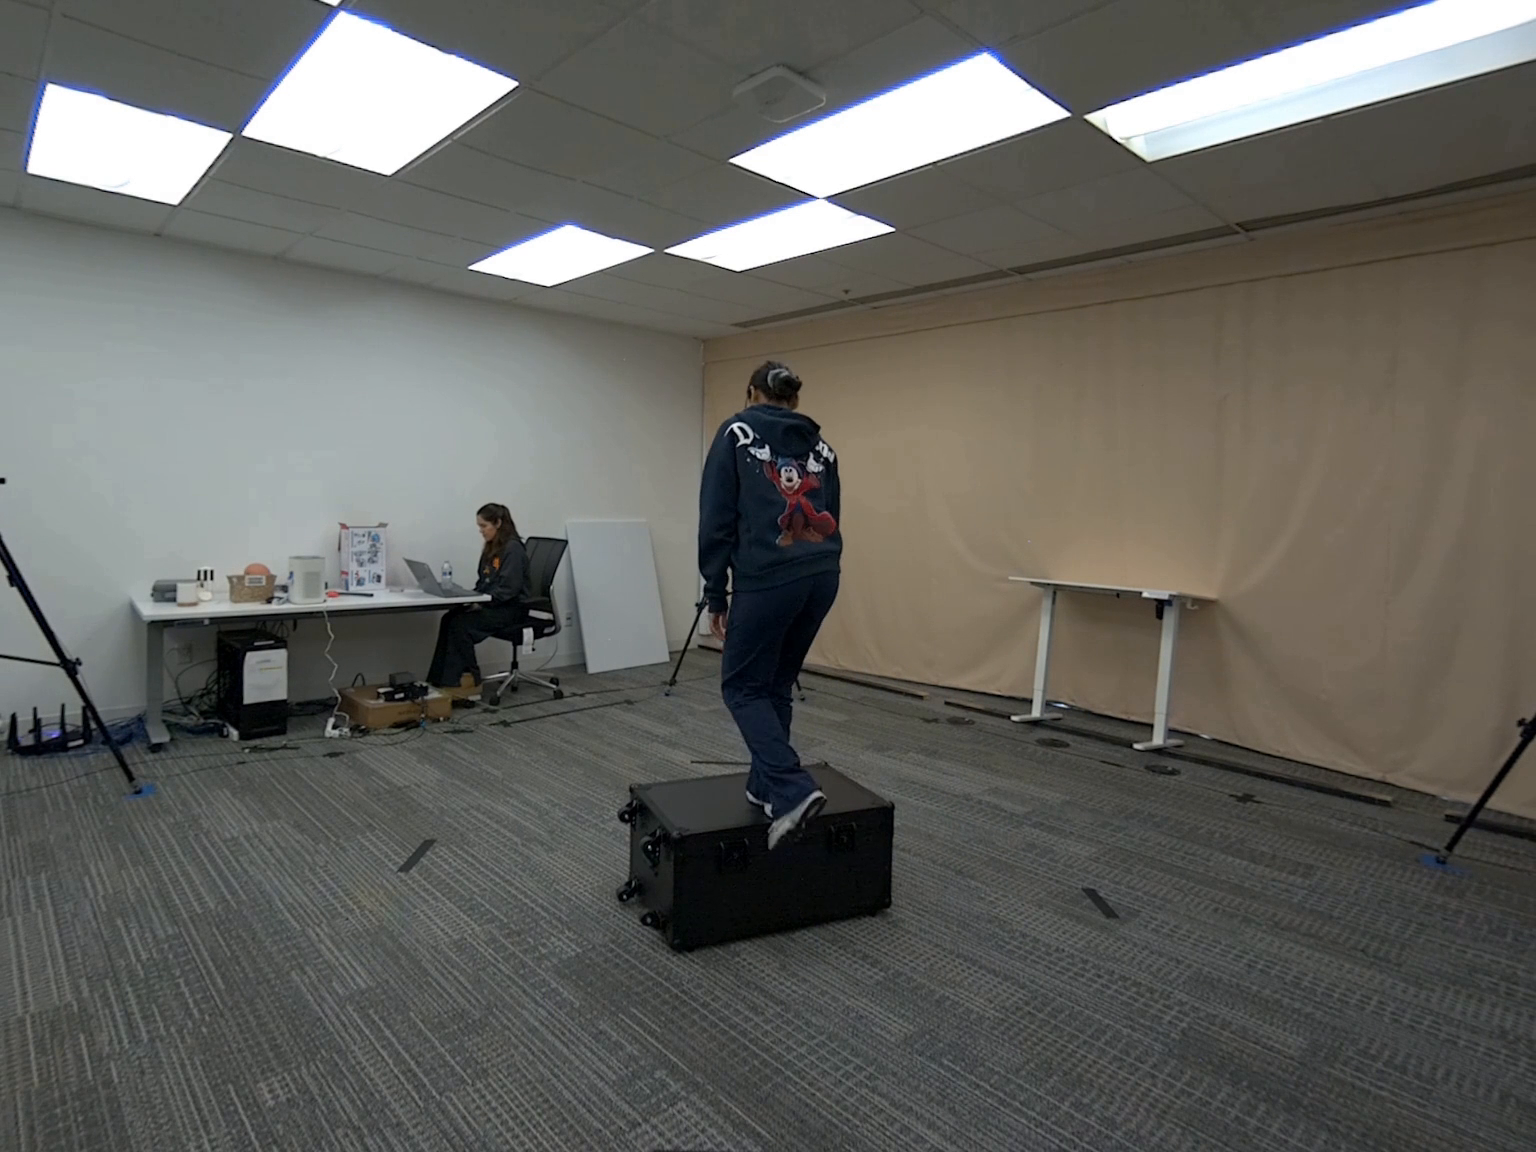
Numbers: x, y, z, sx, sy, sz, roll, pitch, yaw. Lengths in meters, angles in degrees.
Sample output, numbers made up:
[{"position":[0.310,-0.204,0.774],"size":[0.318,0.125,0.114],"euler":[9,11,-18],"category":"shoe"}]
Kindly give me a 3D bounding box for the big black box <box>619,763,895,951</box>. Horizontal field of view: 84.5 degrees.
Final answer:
[{"position":[-0.063,0.951,2.882],"size":[0.846,0.520,0.404],"euler":[-1,3,-26],"category":"big black box"}]
